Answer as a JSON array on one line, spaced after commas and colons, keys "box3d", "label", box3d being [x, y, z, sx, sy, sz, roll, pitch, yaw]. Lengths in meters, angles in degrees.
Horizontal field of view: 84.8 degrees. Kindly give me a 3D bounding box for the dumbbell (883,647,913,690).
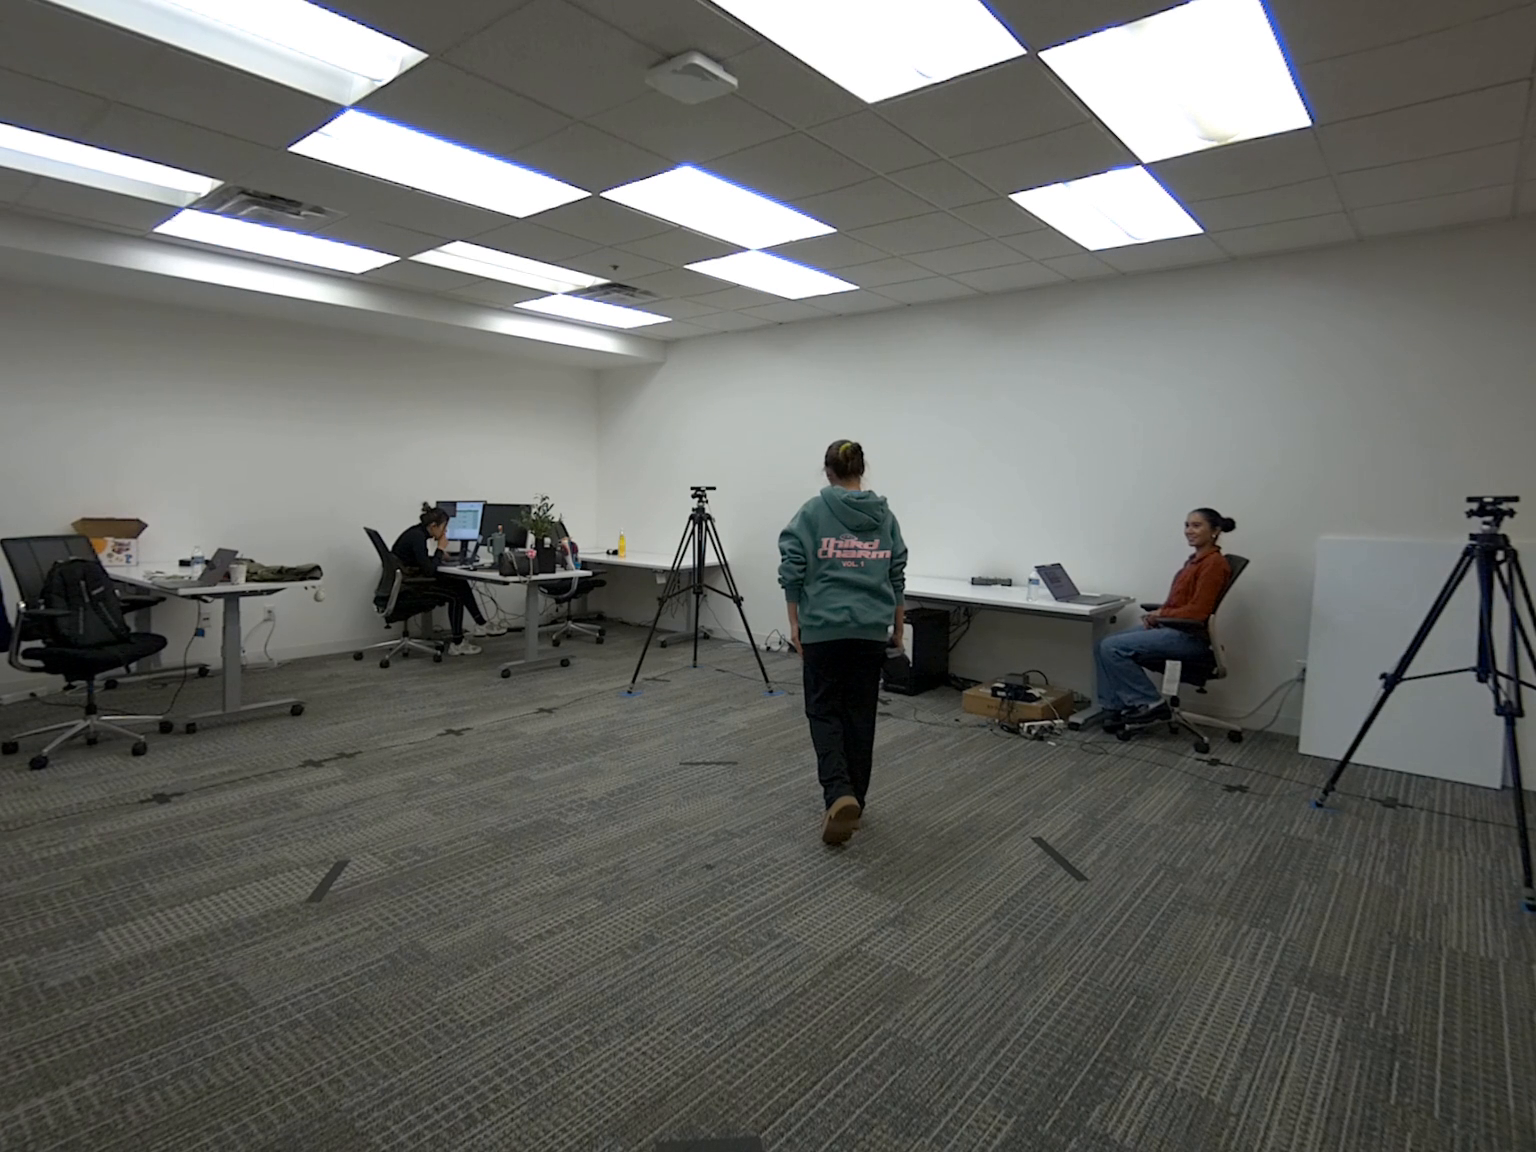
[{"box3d": [0.515, 0.334, 3.645, 0.108, 0.122, 0.298, 17, 12, -8], "label": "dumbbell"}]
